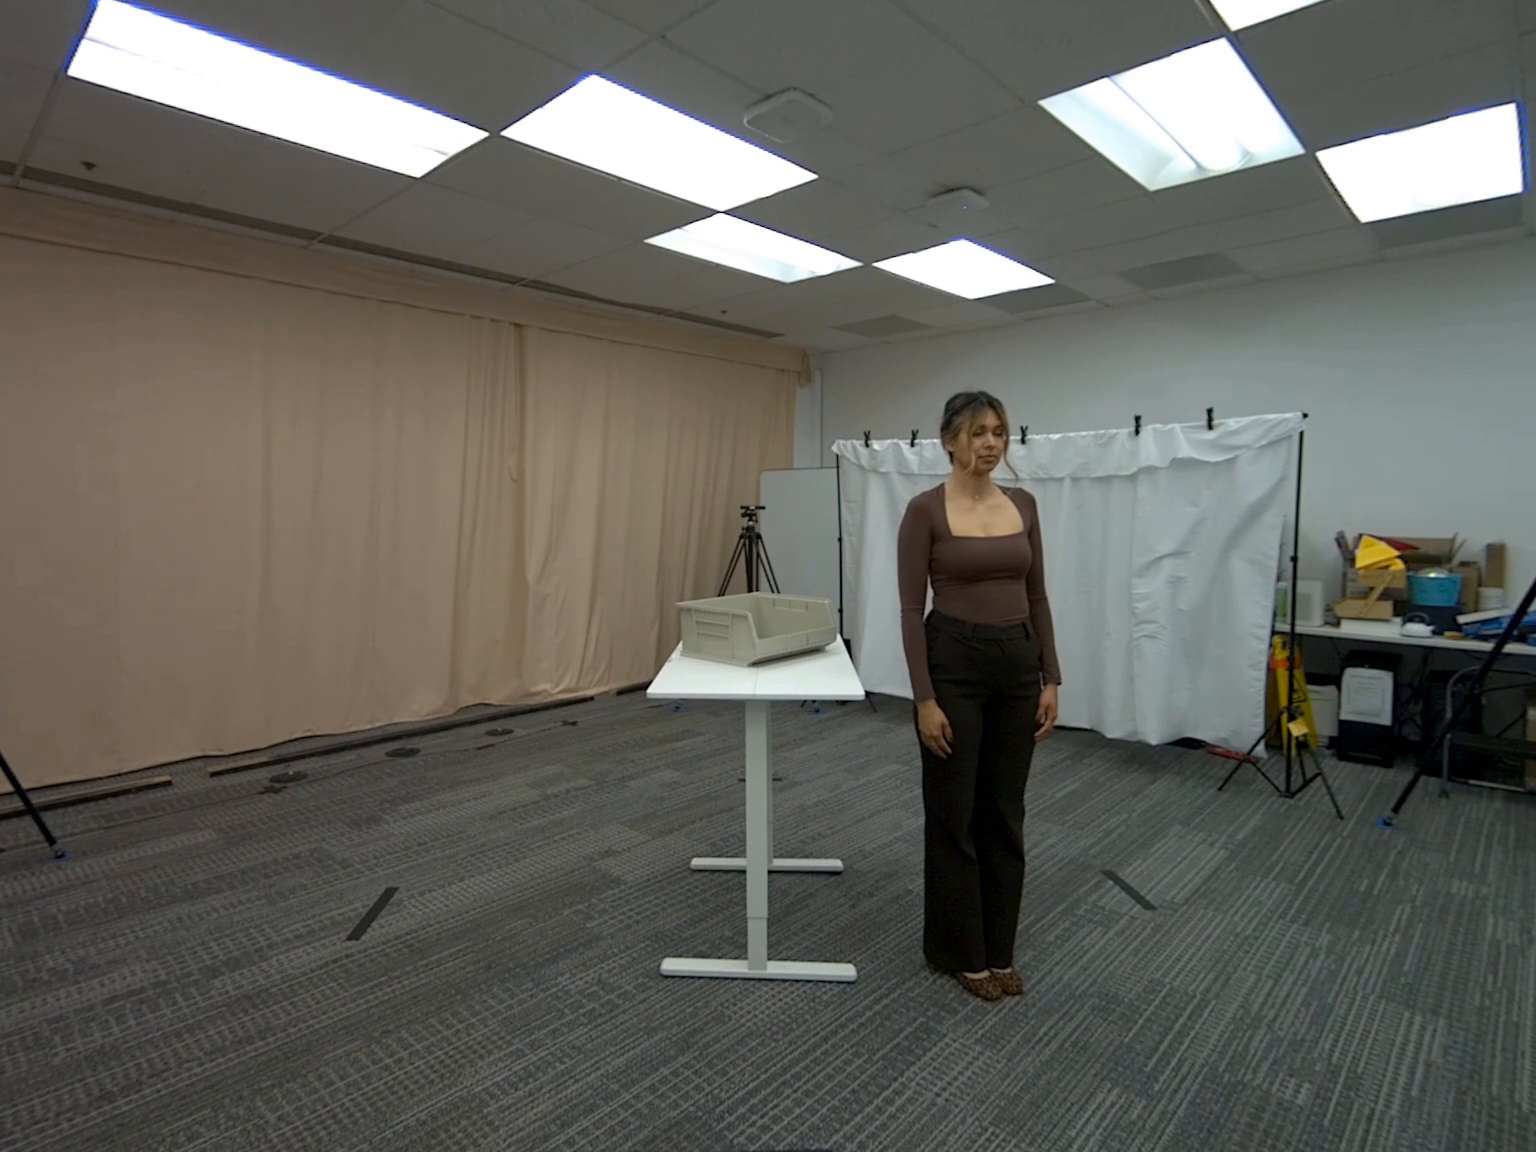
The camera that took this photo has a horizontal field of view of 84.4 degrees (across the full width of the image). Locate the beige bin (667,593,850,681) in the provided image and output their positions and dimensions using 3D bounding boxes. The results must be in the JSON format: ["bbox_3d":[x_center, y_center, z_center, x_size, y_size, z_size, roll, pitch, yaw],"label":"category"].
[{"bbox_3d":[-0.030,0.179,2.893,0.390,0.188,0.410,2,6,43],"label":"beige bin"}]
